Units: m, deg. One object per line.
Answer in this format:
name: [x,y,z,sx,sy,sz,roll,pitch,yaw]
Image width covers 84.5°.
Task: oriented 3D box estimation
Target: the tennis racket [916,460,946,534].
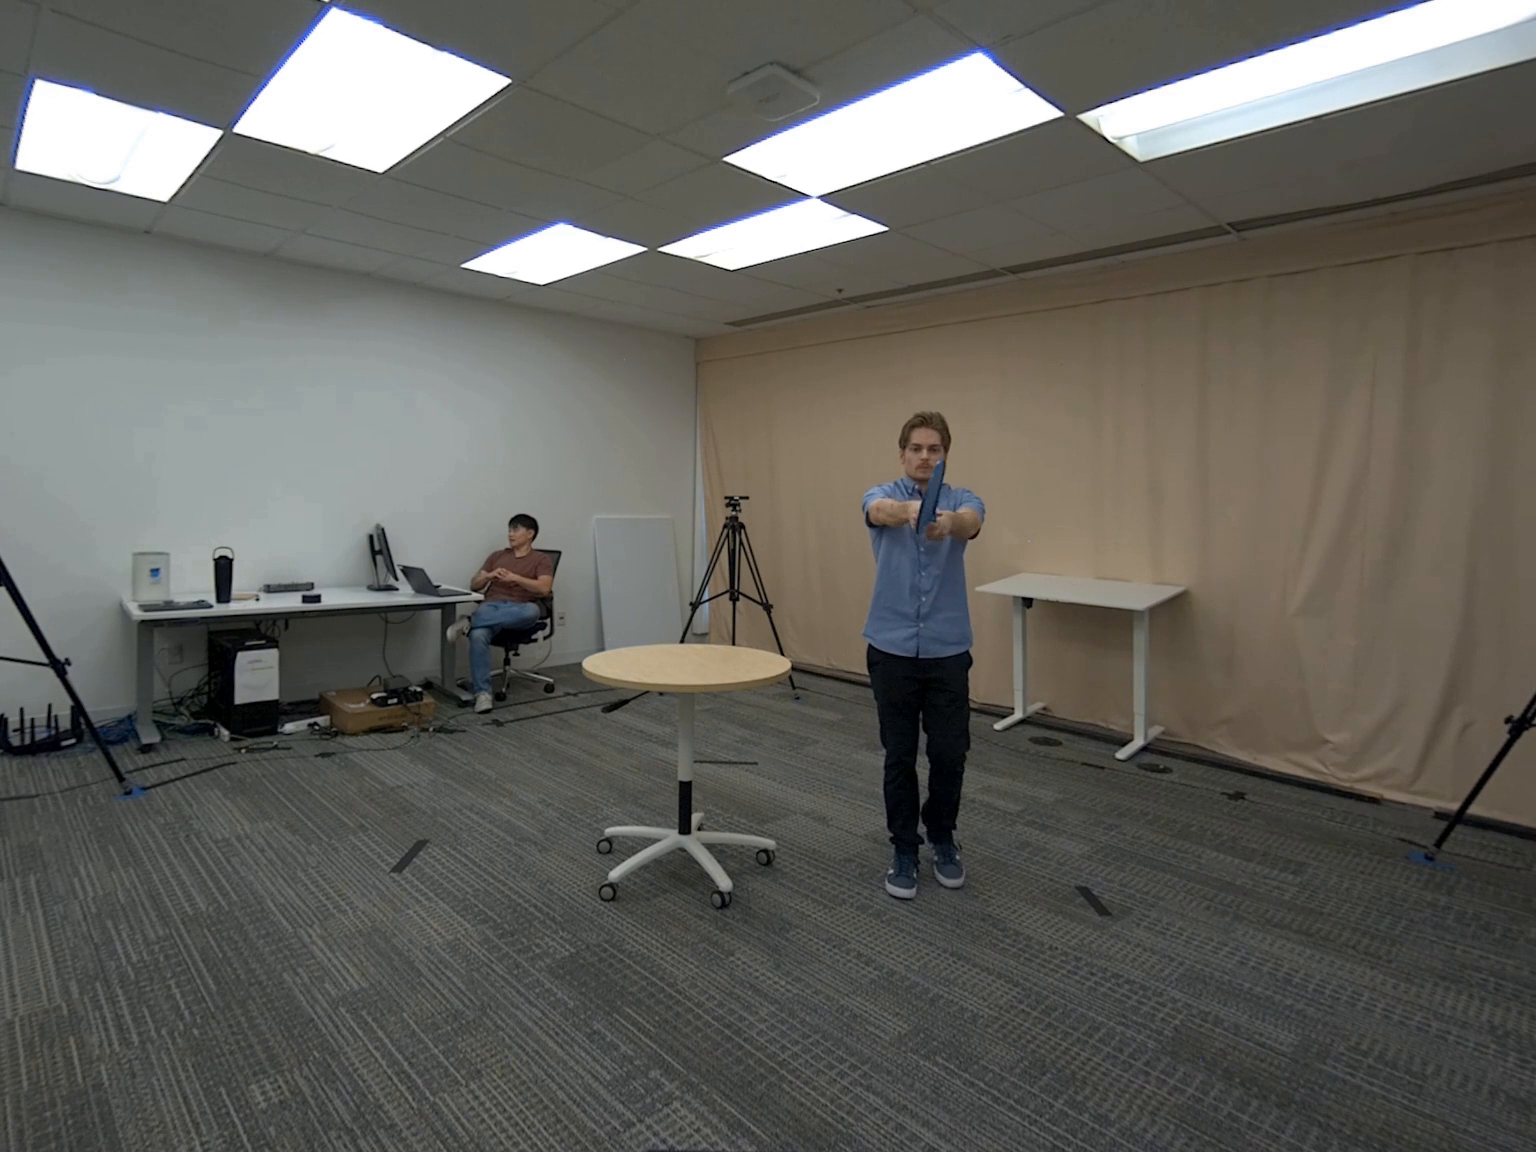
tennis racket: [0.452,-0.186,2.349,0.032,0.215,0.424,17,-12,14]
